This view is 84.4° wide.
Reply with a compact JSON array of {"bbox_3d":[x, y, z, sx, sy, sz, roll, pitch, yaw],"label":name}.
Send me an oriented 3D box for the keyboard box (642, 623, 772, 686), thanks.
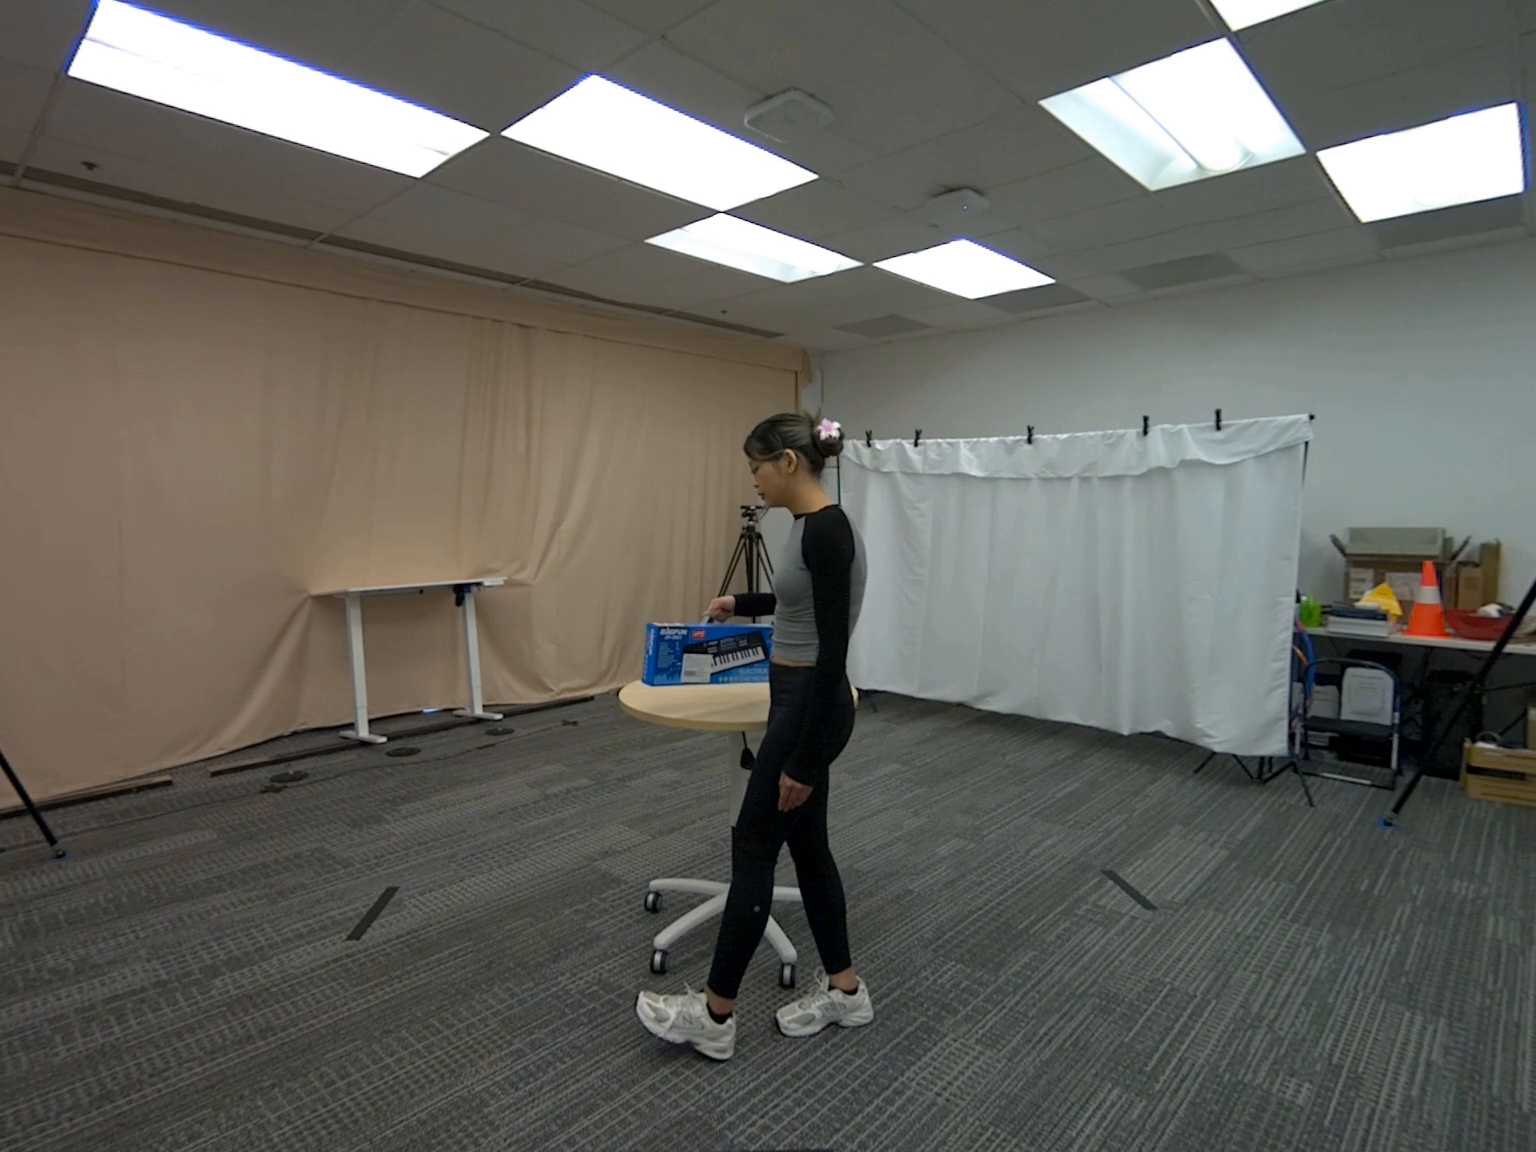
[{"bbox_3d":[-0.159,0.233,2.481,0.423,0.176,0.061,4,2,-35],"label":"keyboard box"}]
